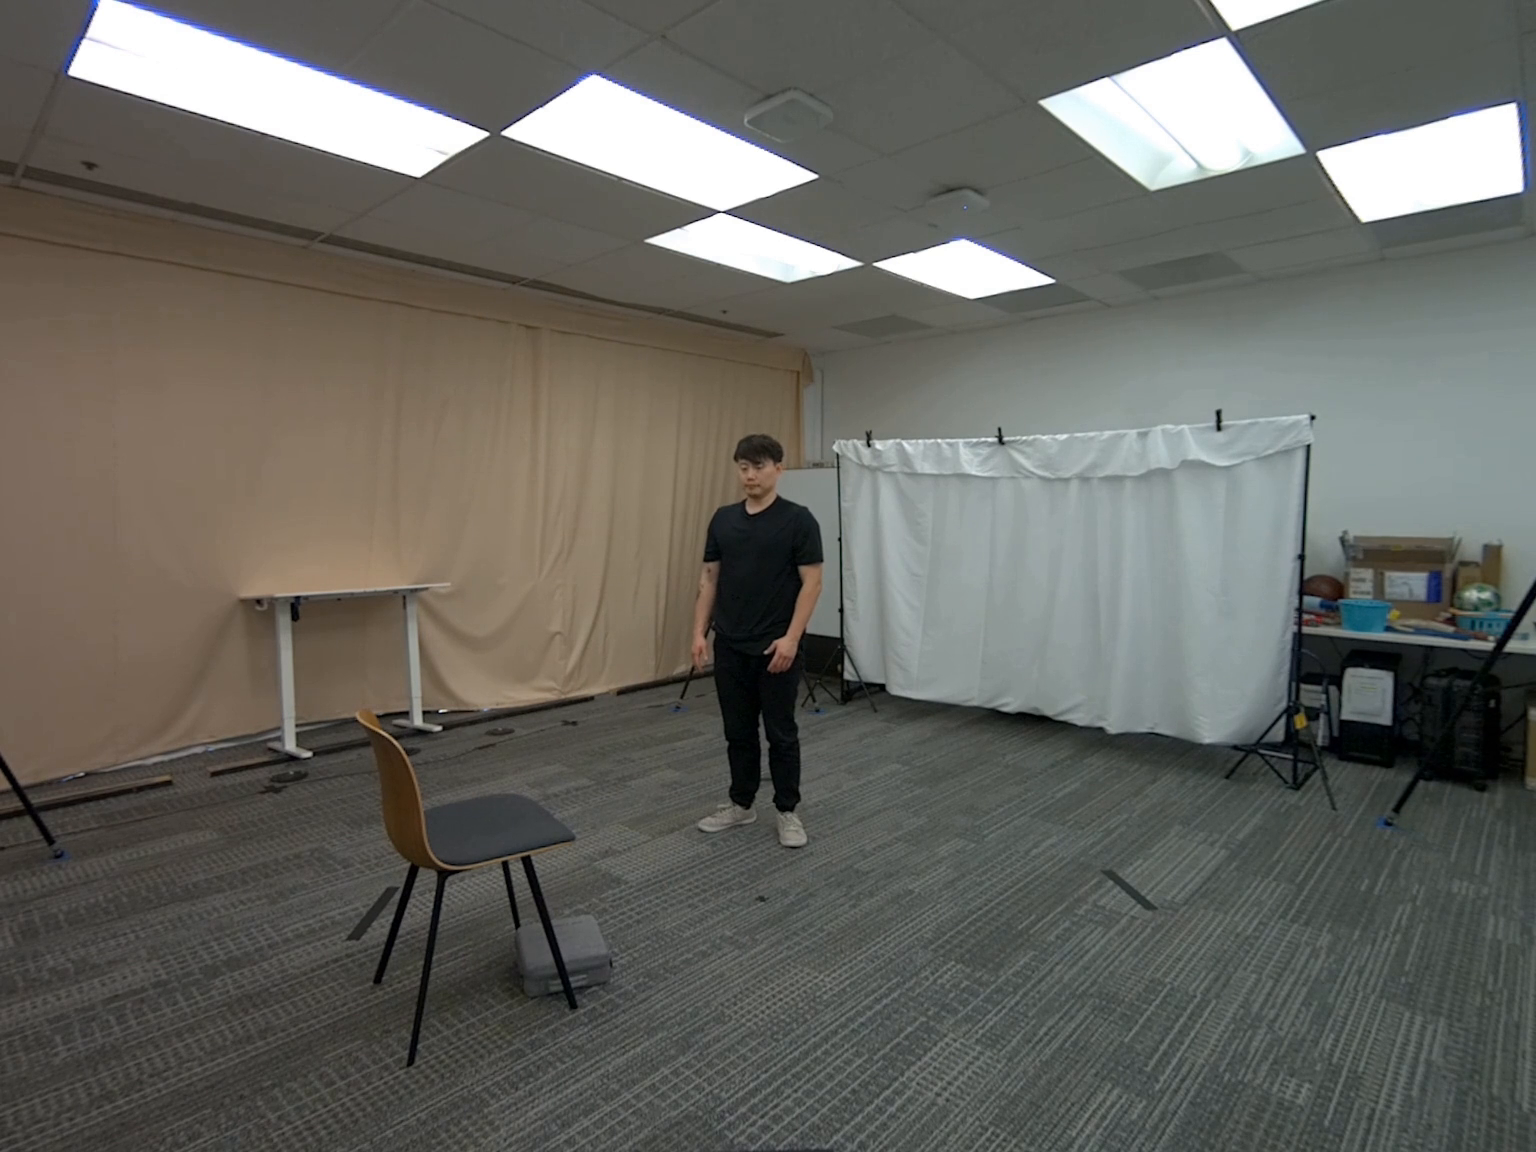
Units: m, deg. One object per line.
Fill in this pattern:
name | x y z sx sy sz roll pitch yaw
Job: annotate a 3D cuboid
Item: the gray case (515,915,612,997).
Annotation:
gray case | -0.614 1.131 2.518 0.252 0.104 0.267 -1 6 -21
